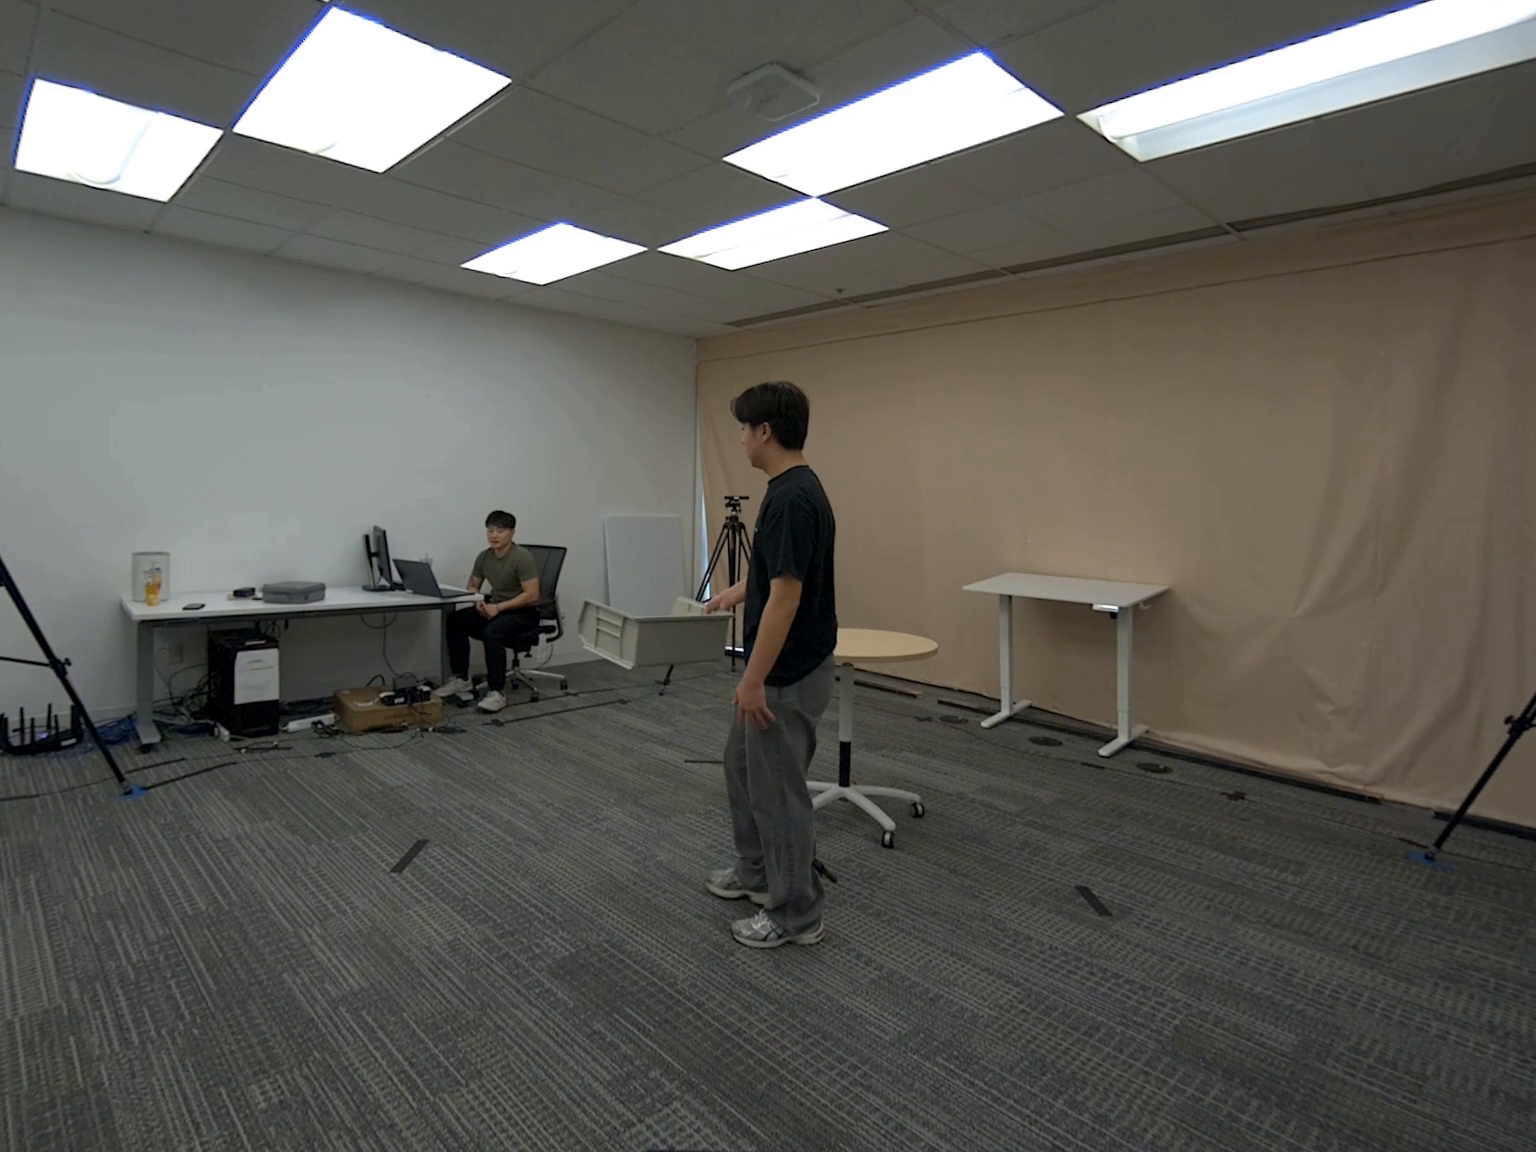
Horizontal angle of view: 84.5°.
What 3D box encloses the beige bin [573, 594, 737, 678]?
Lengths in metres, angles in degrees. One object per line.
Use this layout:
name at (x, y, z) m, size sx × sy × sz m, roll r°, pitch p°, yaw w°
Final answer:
beige bin at (-0.406, 0.199, 3.015) m, size 0.412 × 0.188 × 0.388 m, roll 1°, pitch 10°, yaw -41°
